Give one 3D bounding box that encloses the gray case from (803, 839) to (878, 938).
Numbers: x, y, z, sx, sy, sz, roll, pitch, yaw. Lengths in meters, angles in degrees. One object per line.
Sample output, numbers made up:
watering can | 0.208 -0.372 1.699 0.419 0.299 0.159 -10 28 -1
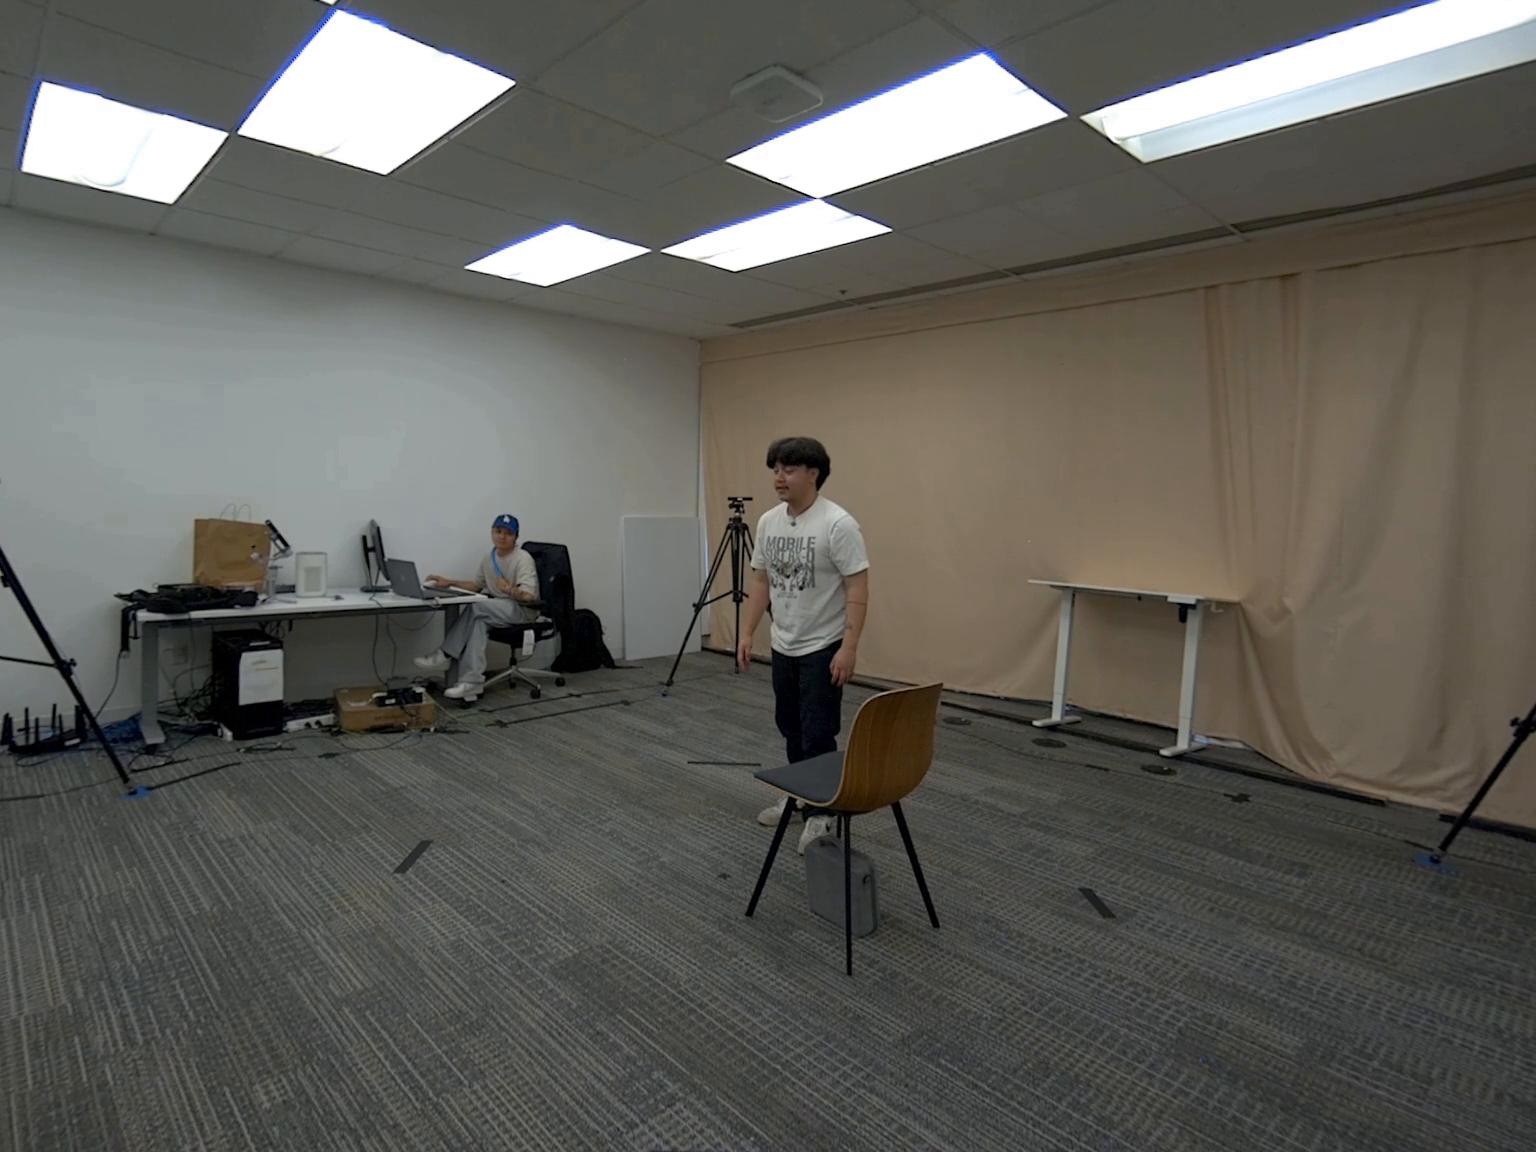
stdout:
gray case | 0.235 1.018 2.771 0.102 0.259 0.263 -13 12 -38
